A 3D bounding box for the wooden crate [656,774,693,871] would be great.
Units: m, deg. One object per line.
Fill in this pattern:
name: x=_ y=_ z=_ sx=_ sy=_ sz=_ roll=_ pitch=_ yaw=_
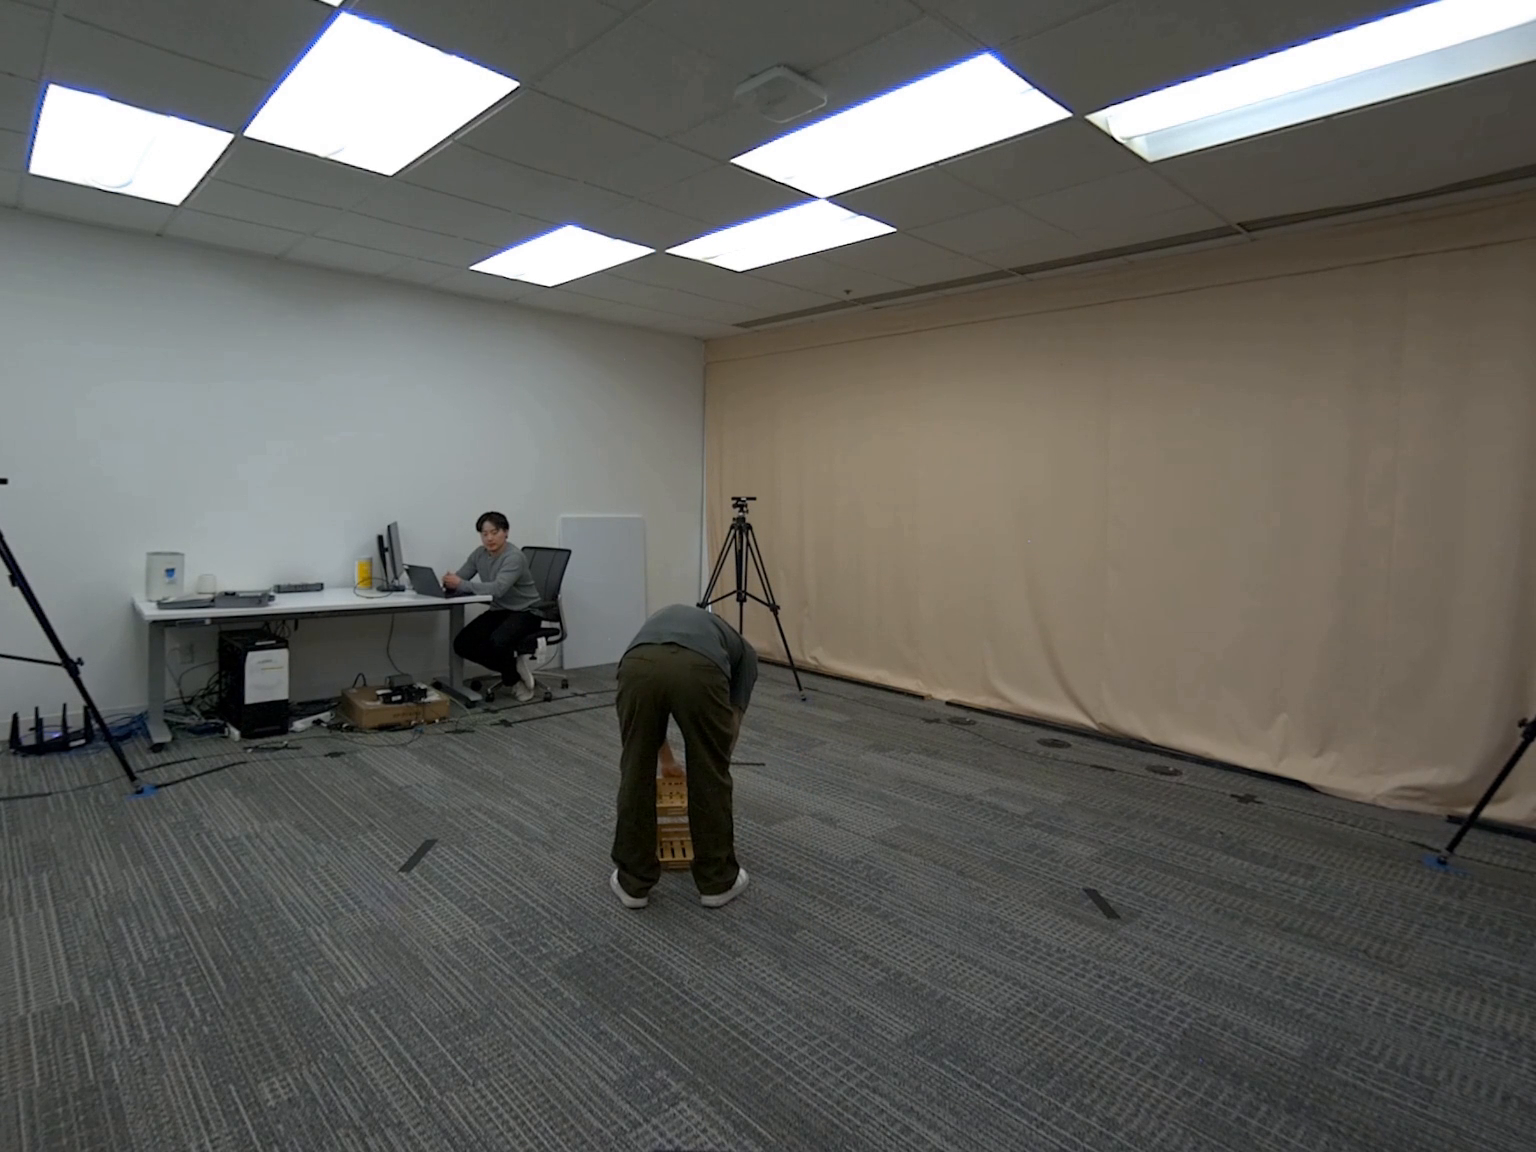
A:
wooden crate: x=-0.309 y=0.955 z=3.270 sx=0.322 sy=0.273 sz=0.305 roll=1 pitch=4 yaw=-8
